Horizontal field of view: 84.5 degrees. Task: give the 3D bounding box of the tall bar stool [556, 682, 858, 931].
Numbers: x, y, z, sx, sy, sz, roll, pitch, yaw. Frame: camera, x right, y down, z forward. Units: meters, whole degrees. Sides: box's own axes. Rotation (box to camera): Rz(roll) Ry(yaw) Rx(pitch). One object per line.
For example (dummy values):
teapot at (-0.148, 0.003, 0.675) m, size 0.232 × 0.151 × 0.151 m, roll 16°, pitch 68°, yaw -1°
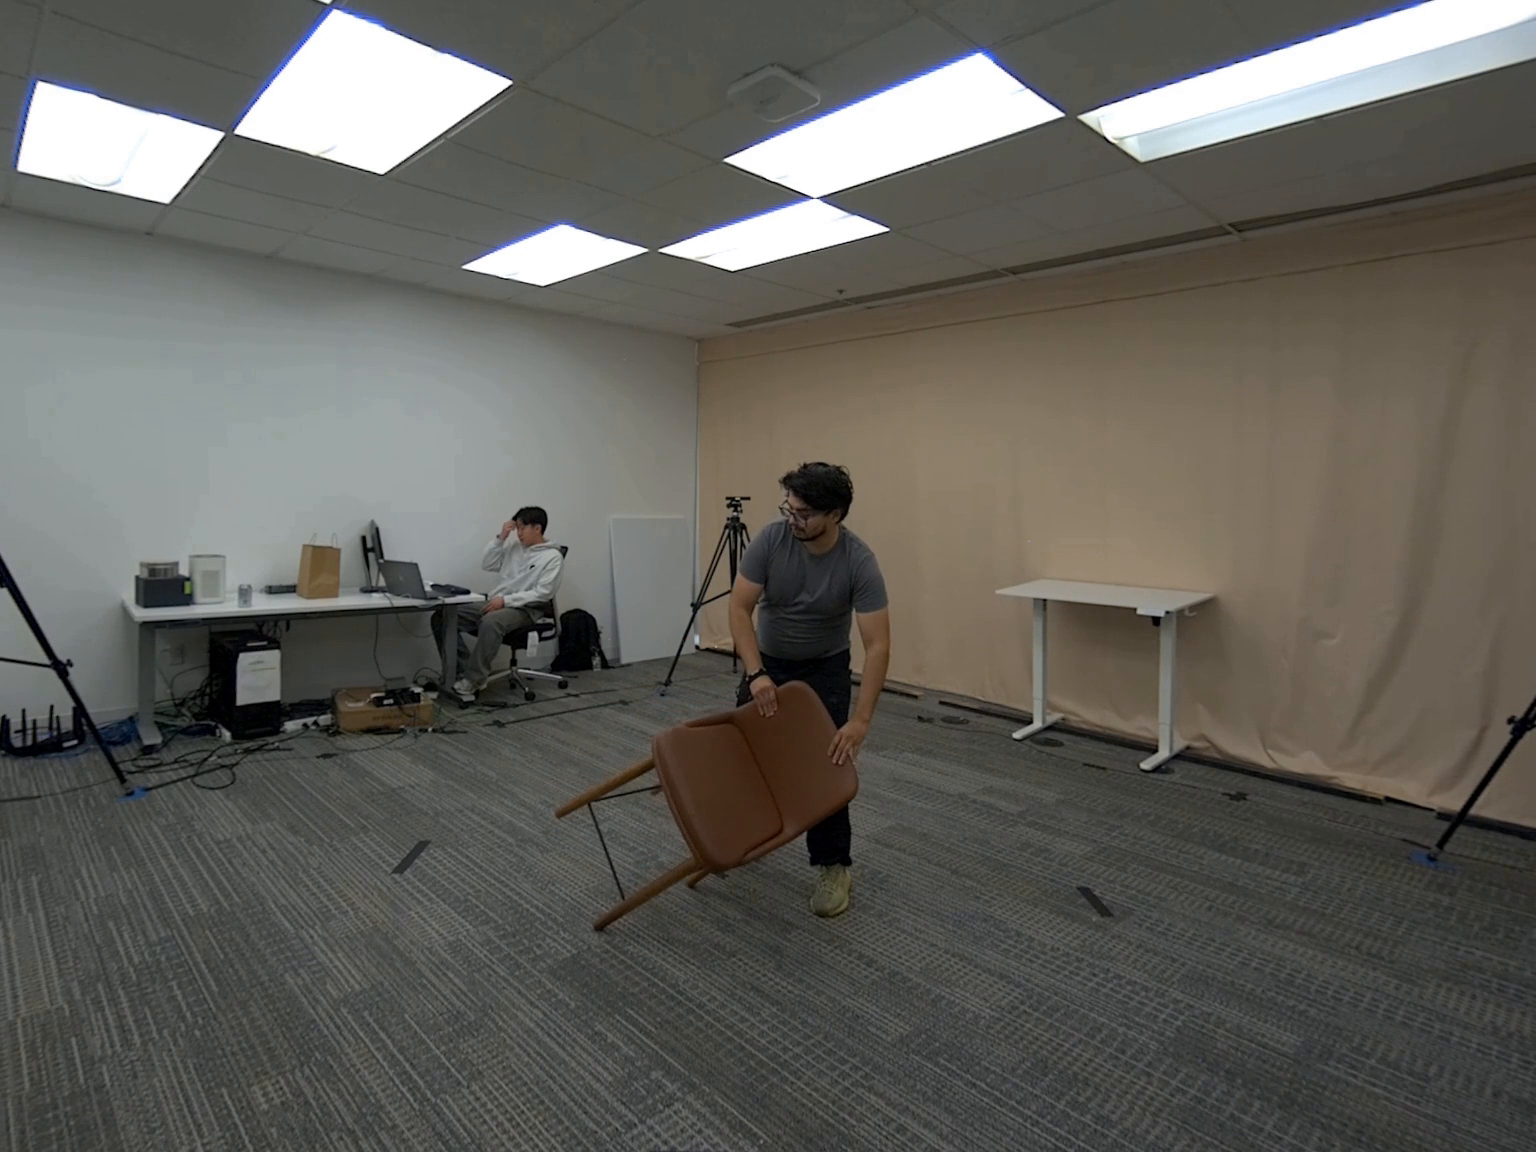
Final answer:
tall bar stool at (-0.217, 0.731, 2.682) m, size 0.893 × 0.466 × 0.456 m, roll -39°, pitch -24°, yaw 32°
